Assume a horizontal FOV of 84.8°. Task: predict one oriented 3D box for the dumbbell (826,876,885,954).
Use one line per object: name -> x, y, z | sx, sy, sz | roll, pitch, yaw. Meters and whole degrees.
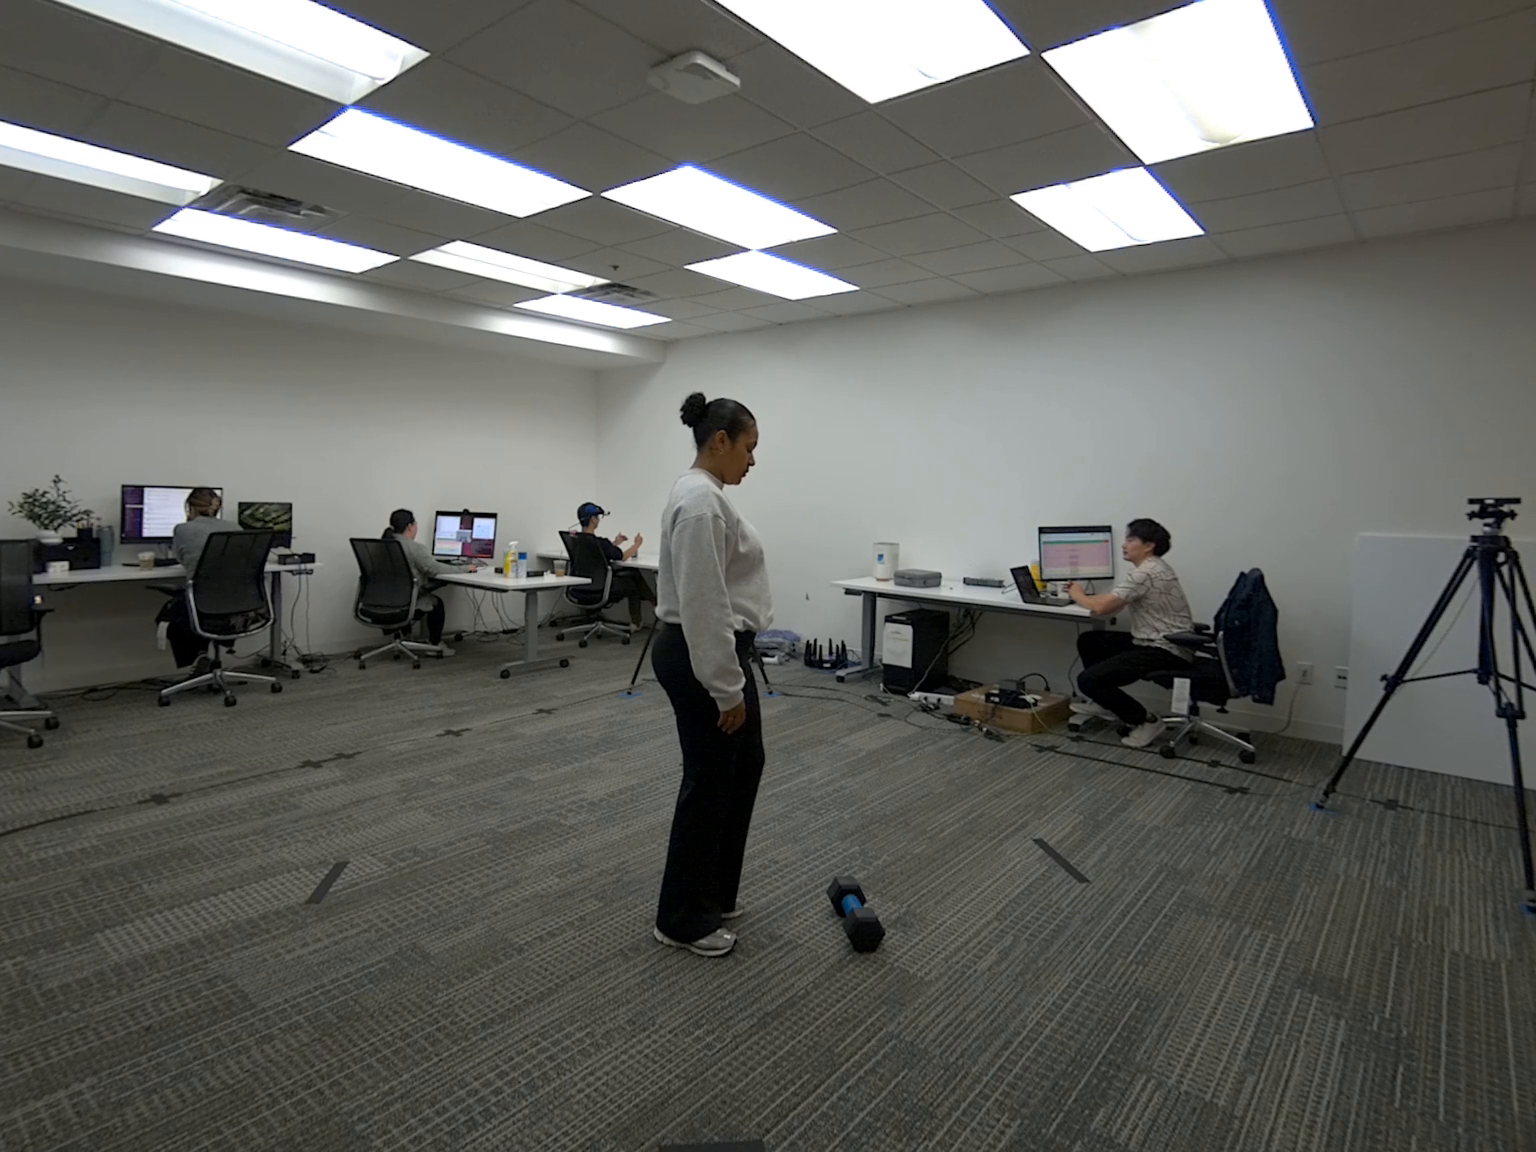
dumbbell -> 0.267, 1.069, 2.696 | 0.108, 0.122, 0.297 | -29, 10, -6
